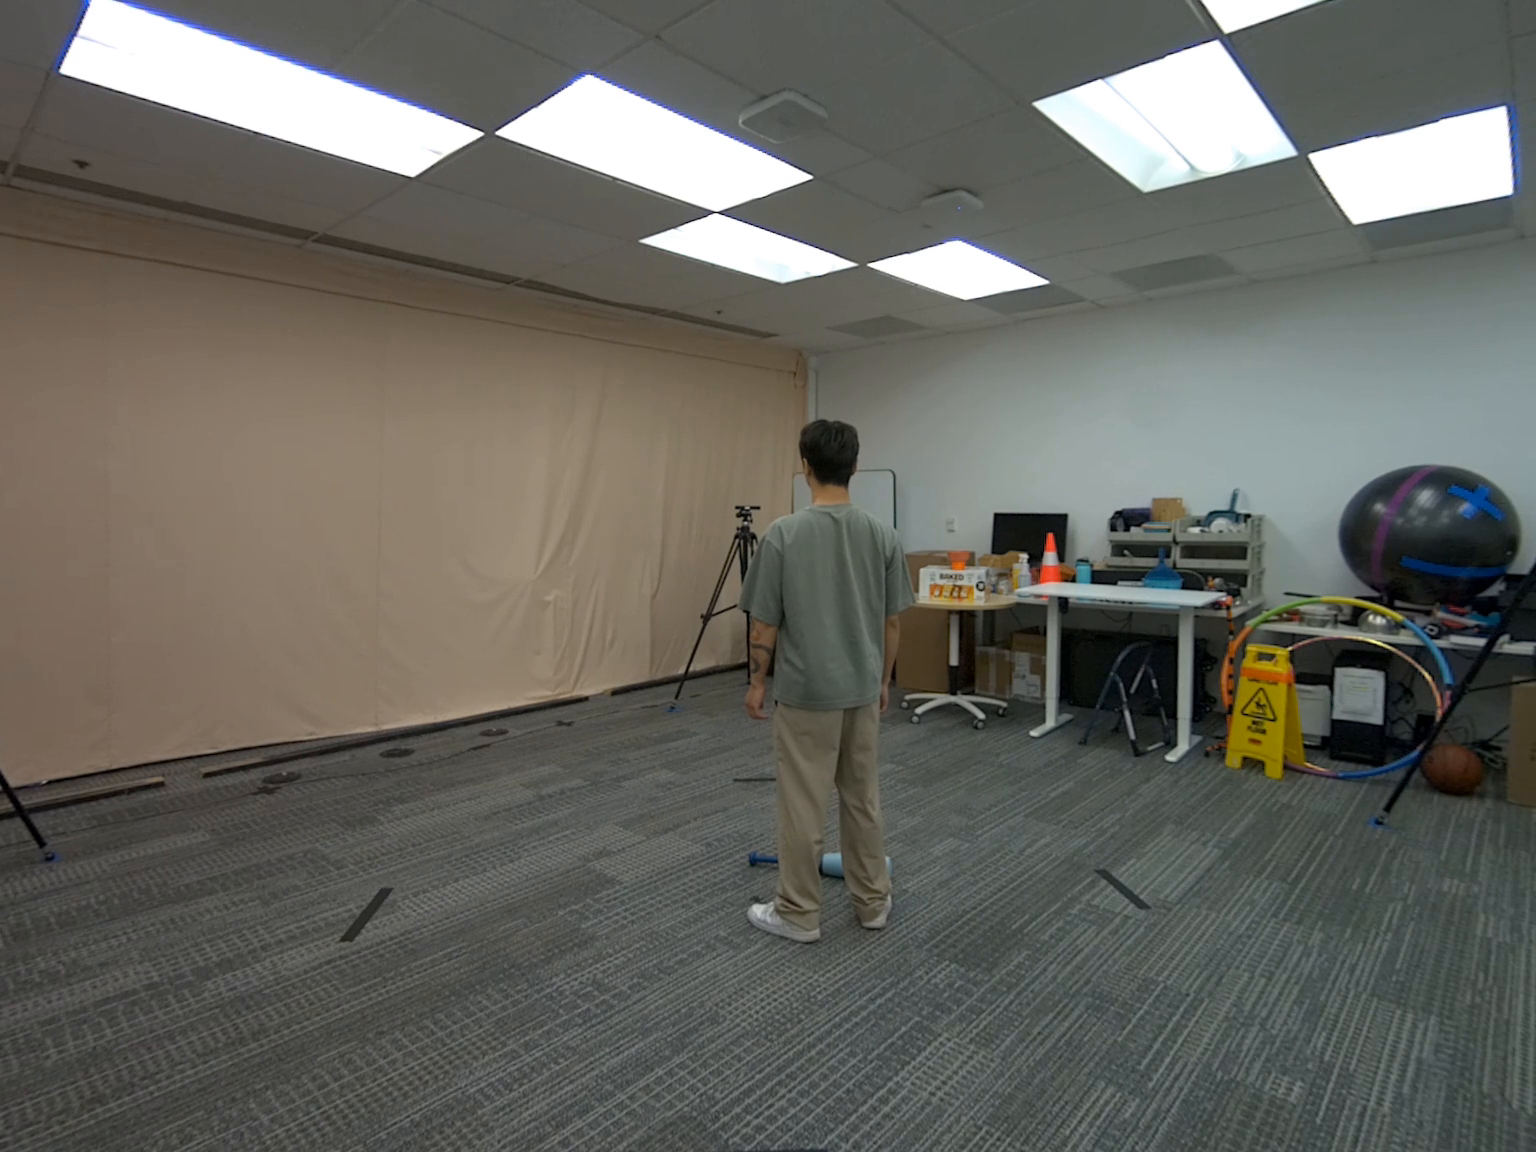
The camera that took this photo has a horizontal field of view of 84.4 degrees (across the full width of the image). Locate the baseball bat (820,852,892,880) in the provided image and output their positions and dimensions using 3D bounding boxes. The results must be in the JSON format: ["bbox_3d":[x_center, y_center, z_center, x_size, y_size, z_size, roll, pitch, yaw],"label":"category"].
[{"bbox_3d":[0.198,1.085,3.183,0.552,0.089,0.088,-1,3,16],"label":"baseball bat"}]
